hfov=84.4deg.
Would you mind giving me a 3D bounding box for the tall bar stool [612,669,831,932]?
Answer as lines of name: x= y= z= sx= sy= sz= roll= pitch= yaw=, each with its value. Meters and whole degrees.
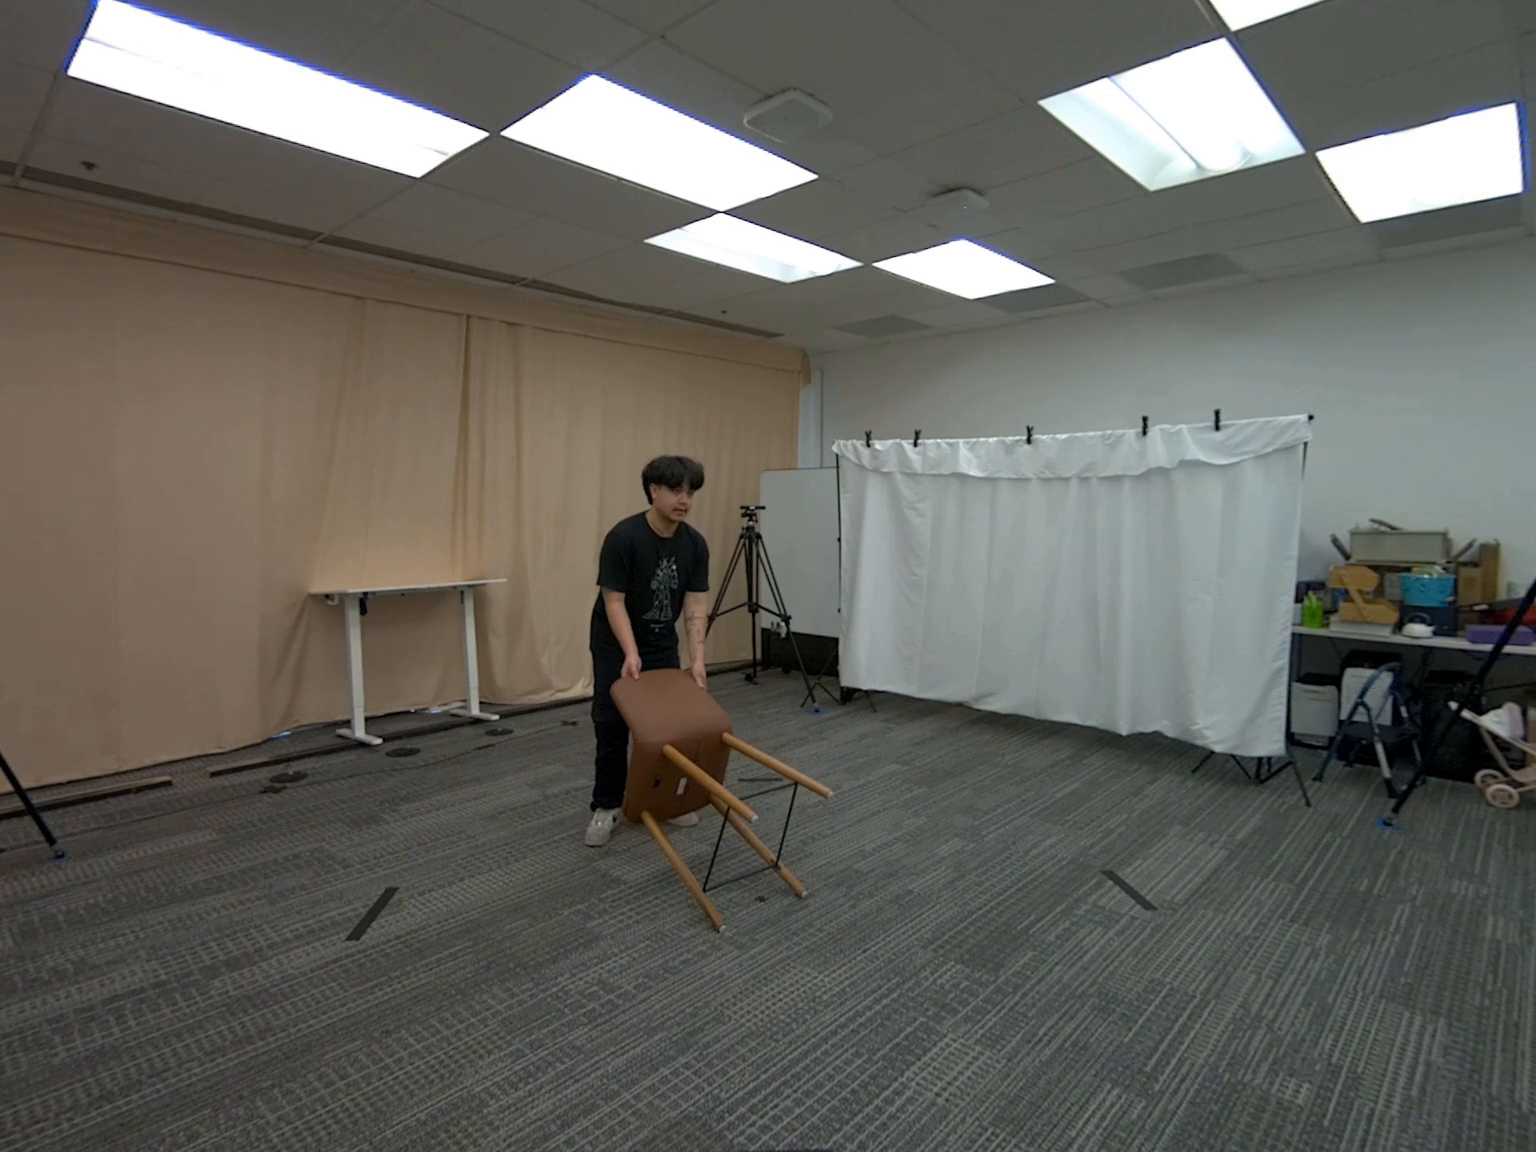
tall bar stool: x=-0.232 y=0.766 z=3.113 sx=0.442 sy=0.464 sz=0.923 roll=-4 pitch=27 yaw=-42
